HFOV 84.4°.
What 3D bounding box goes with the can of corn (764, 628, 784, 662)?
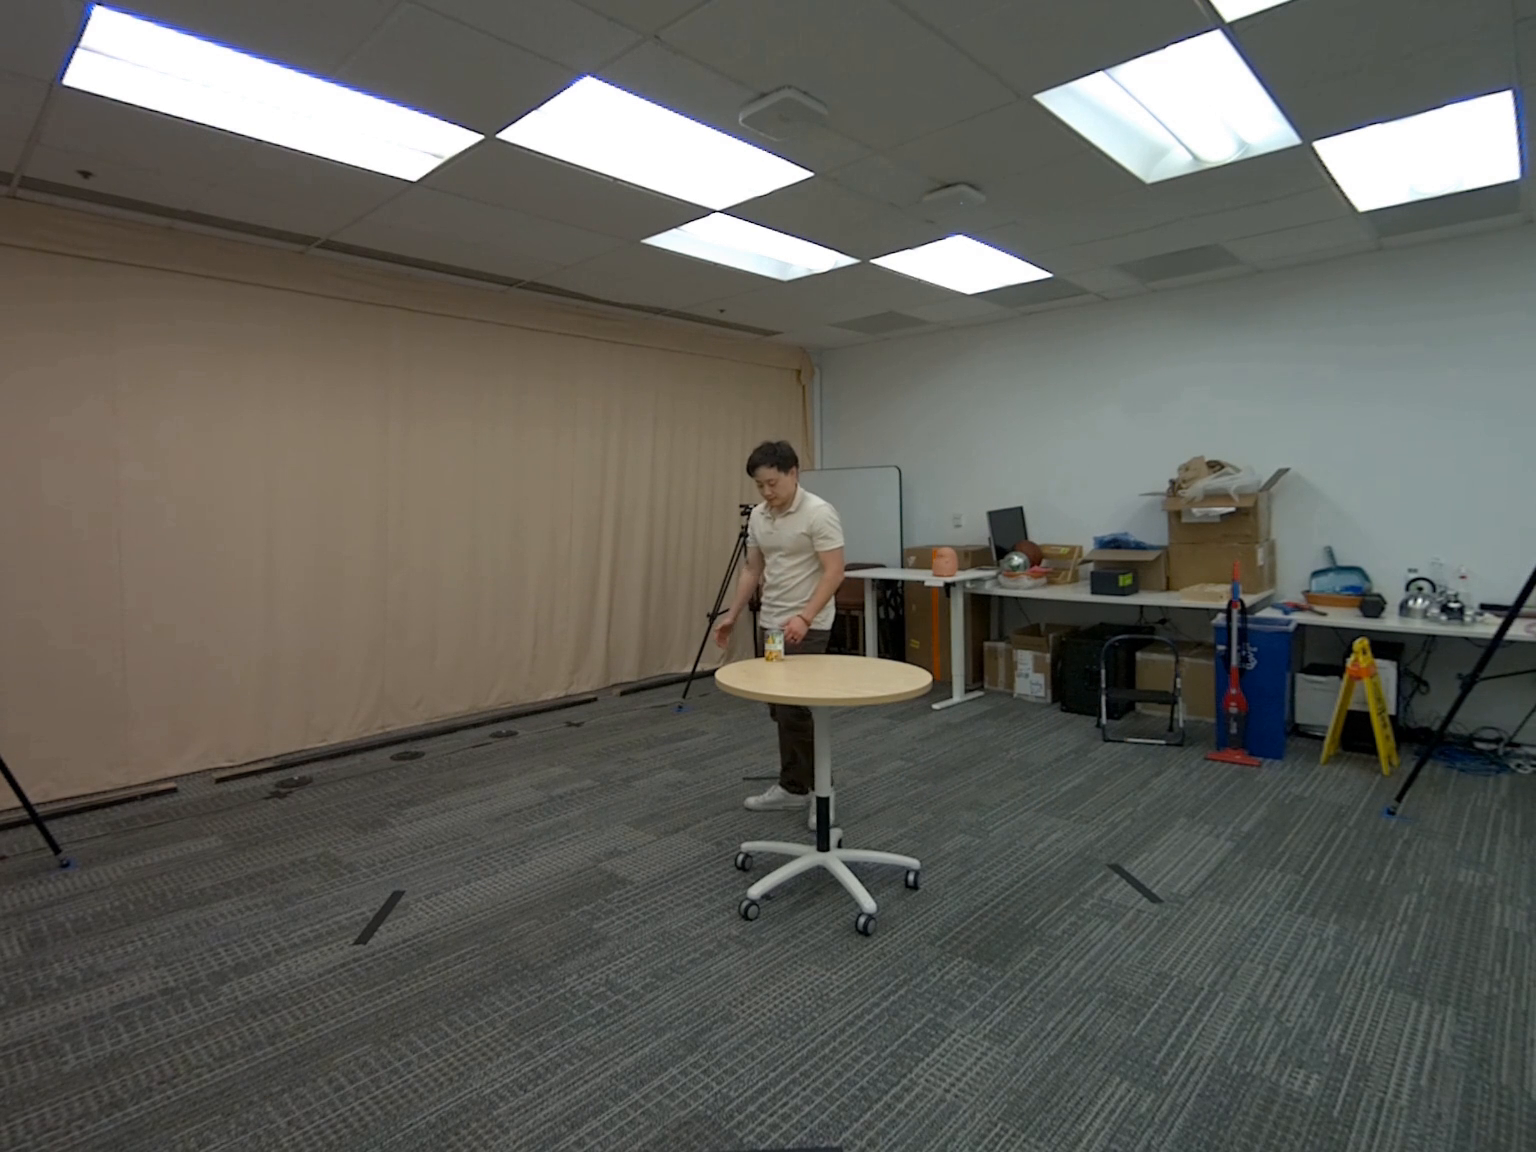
[{"bbox_3d":[0.025,0.273,3.286,0.074,0.111,0.074,-3,2,-2],"label":"can of corn"}]
